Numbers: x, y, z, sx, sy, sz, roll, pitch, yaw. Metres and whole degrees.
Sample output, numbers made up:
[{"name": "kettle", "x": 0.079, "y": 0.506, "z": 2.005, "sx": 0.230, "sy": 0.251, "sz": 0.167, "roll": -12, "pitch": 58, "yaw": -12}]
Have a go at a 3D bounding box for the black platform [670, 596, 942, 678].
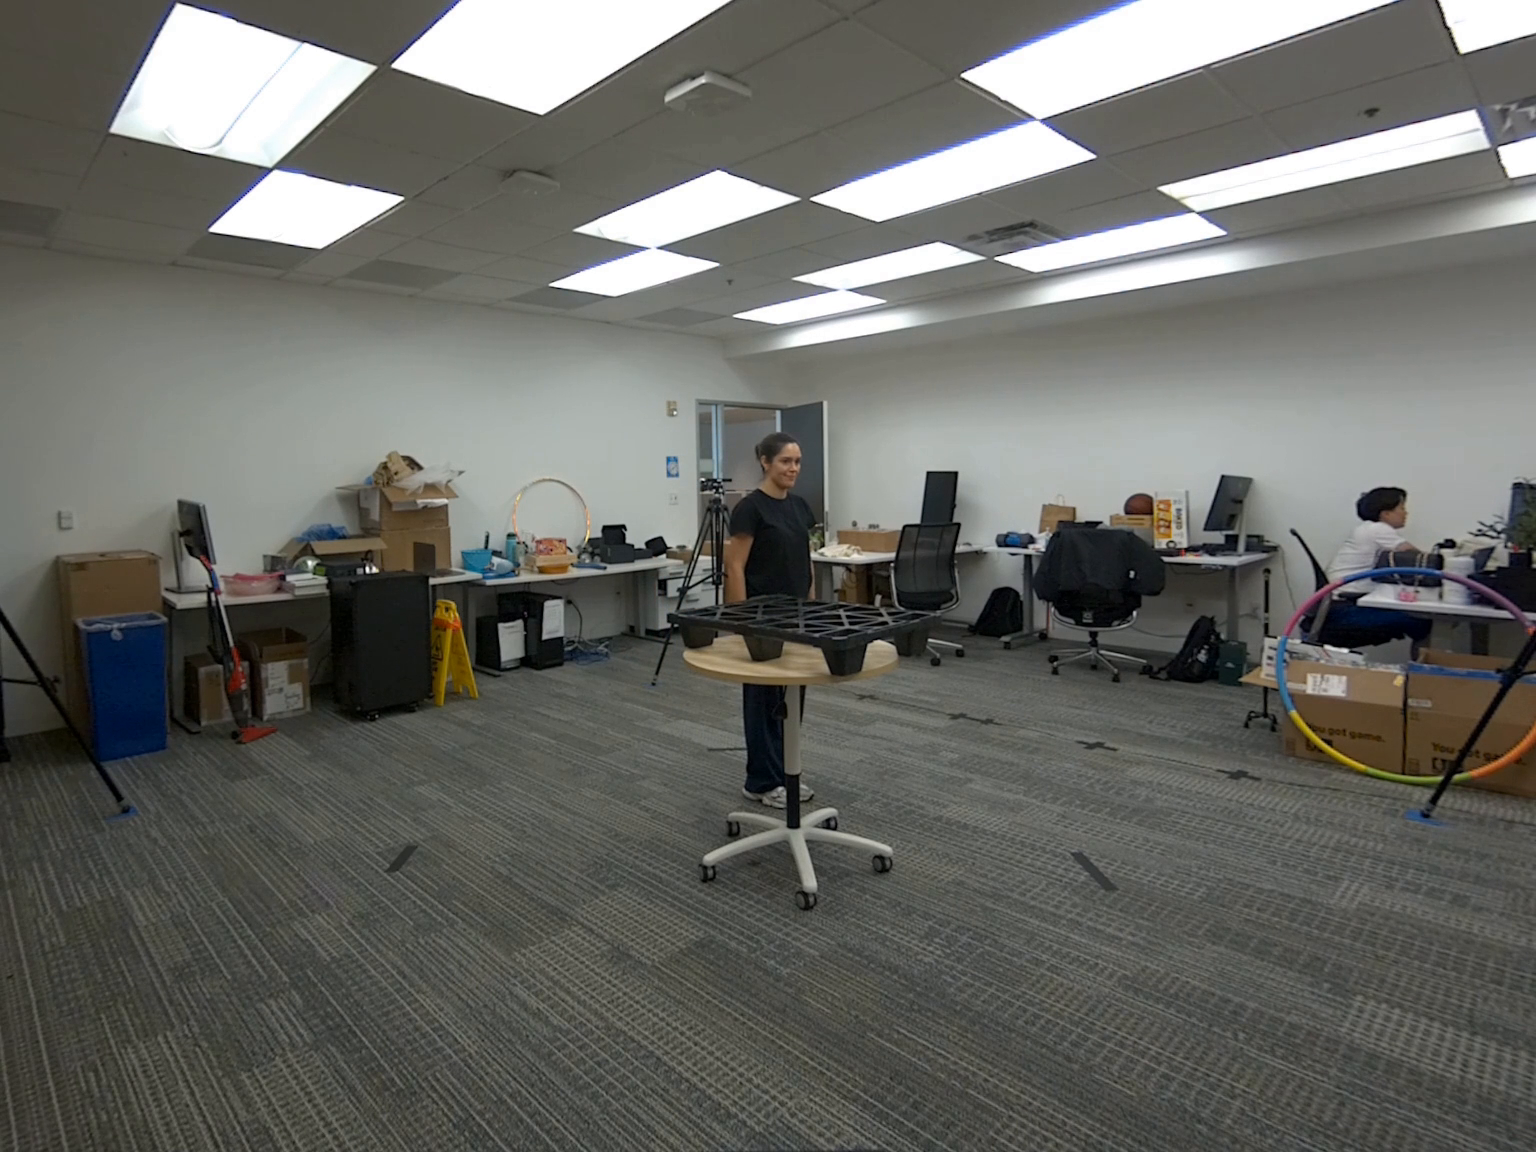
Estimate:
[{"name": "black platform", "x": 0.119, "y": 0.201, "z": 3.077, "sx": 0.830, "sy": 0.142, "sz": 0.589, "roll": 5, "pitch": 9, "yaw": 44}]
